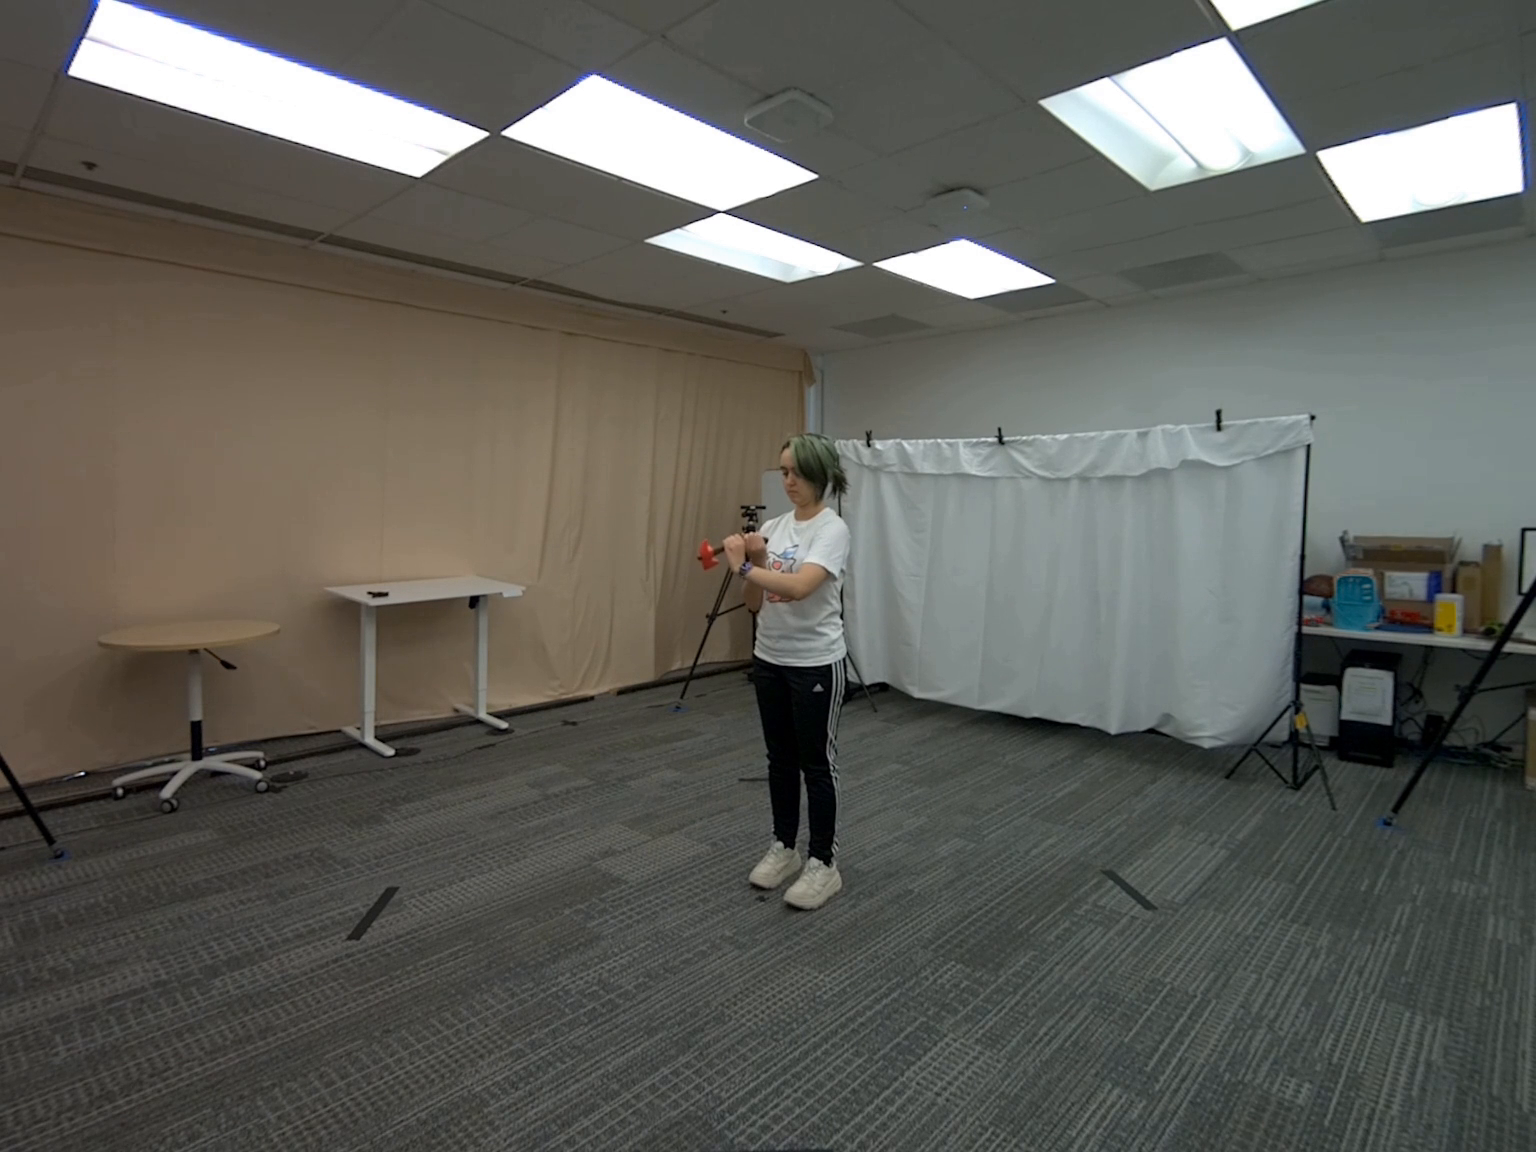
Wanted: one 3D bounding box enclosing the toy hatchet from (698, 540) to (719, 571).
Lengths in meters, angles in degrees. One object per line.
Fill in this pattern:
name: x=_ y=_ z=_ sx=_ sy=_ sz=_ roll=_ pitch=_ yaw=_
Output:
toy hatchet: x=-0.121 y=-0.074 z=2.920 sx=0.263 sy=0.130 sz=0.030 roll=-4 pitch=36 yaw=-32
